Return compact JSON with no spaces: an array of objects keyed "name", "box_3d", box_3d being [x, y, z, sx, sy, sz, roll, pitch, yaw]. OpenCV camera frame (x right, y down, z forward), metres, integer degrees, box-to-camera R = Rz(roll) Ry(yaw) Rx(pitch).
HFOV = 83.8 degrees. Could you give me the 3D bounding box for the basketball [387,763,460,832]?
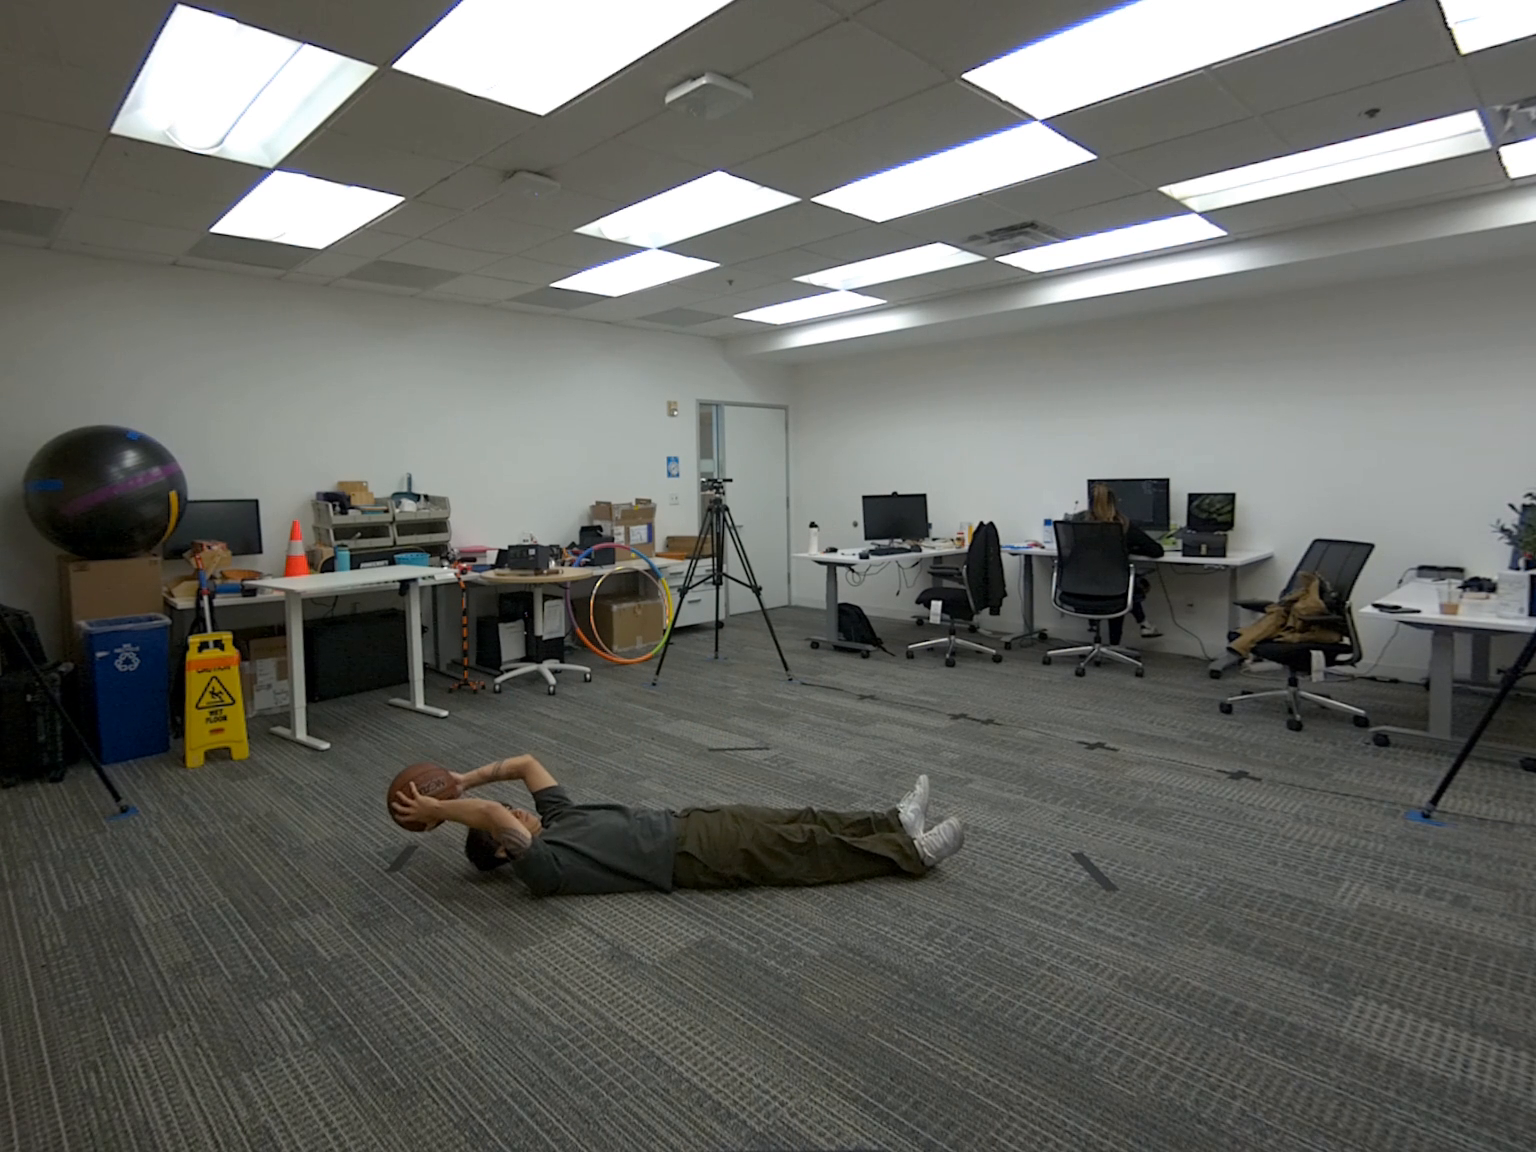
[{"name":"basketball","box_3d":[-1.234,0.782,3.065,0.236,0.235,0.237,-1,5,-2]}]
